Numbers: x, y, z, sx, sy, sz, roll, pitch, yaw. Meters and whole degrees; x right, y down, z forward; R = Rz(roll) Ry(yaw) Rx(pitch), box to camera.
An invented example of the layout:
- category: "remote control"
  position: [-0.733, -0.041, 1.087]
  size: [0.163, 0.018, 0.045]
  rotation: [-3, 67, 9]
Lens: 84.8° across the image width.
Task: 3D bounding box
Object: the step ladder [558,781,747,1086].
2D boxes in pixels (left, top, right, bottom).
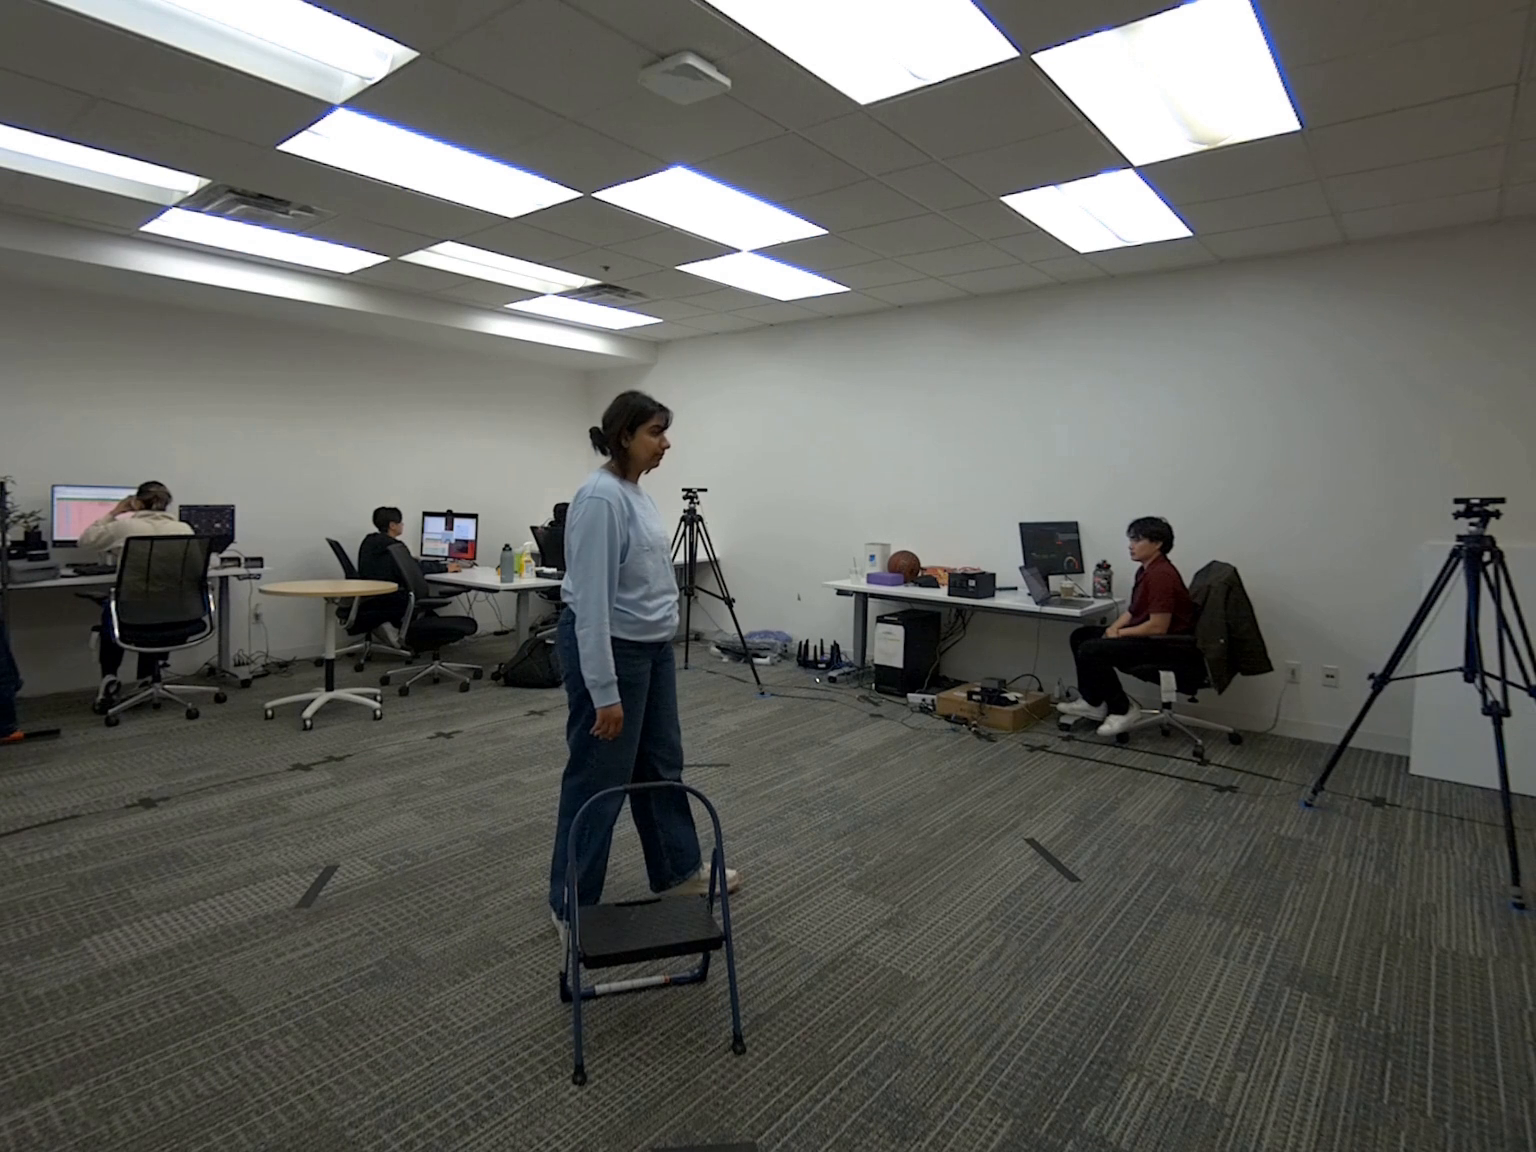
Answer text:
- category: "step ladder"
  position: [-0.312, 0.858, 2.192]
  size: [0.422, 0.604, 0.357]
  rotation: [0, 4, -19]
